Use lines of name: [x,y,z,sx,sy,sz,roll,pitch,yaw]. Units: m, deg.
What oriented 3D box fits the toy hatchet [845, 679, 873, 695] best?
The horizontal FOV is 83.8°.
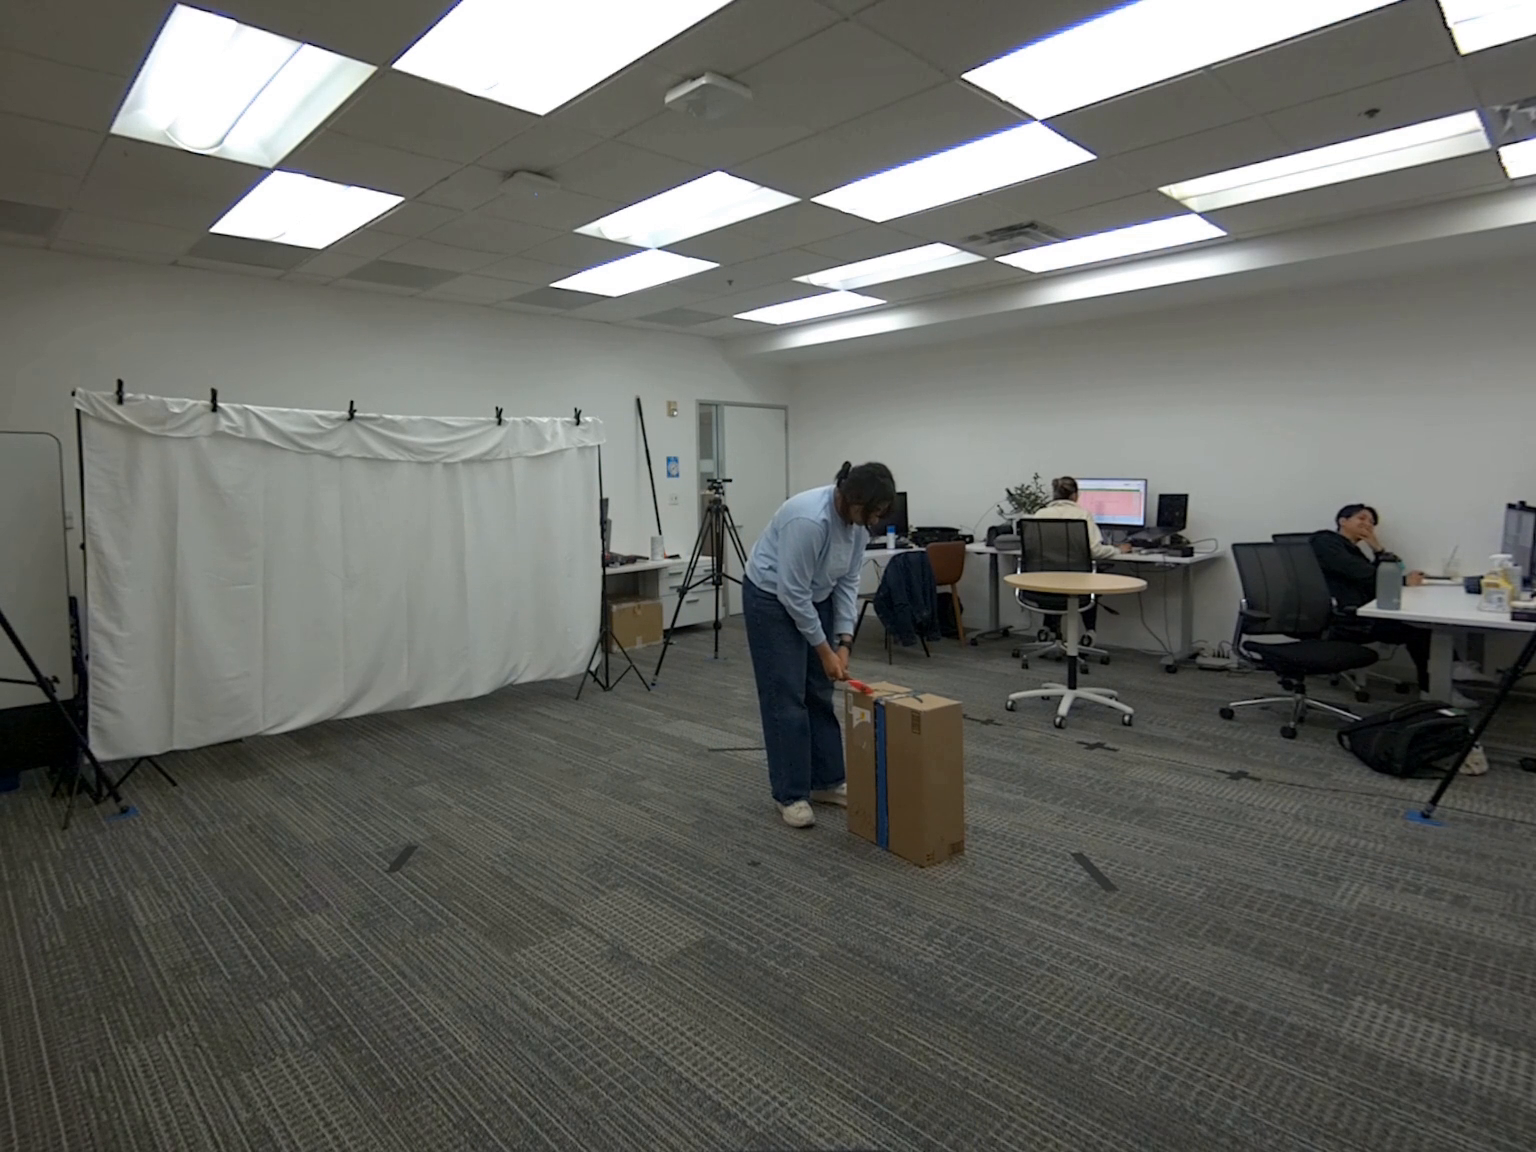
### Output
toy hatchet: [0.347,0.413,3.383,0.130,0.029,0.272,21,4,-6]
